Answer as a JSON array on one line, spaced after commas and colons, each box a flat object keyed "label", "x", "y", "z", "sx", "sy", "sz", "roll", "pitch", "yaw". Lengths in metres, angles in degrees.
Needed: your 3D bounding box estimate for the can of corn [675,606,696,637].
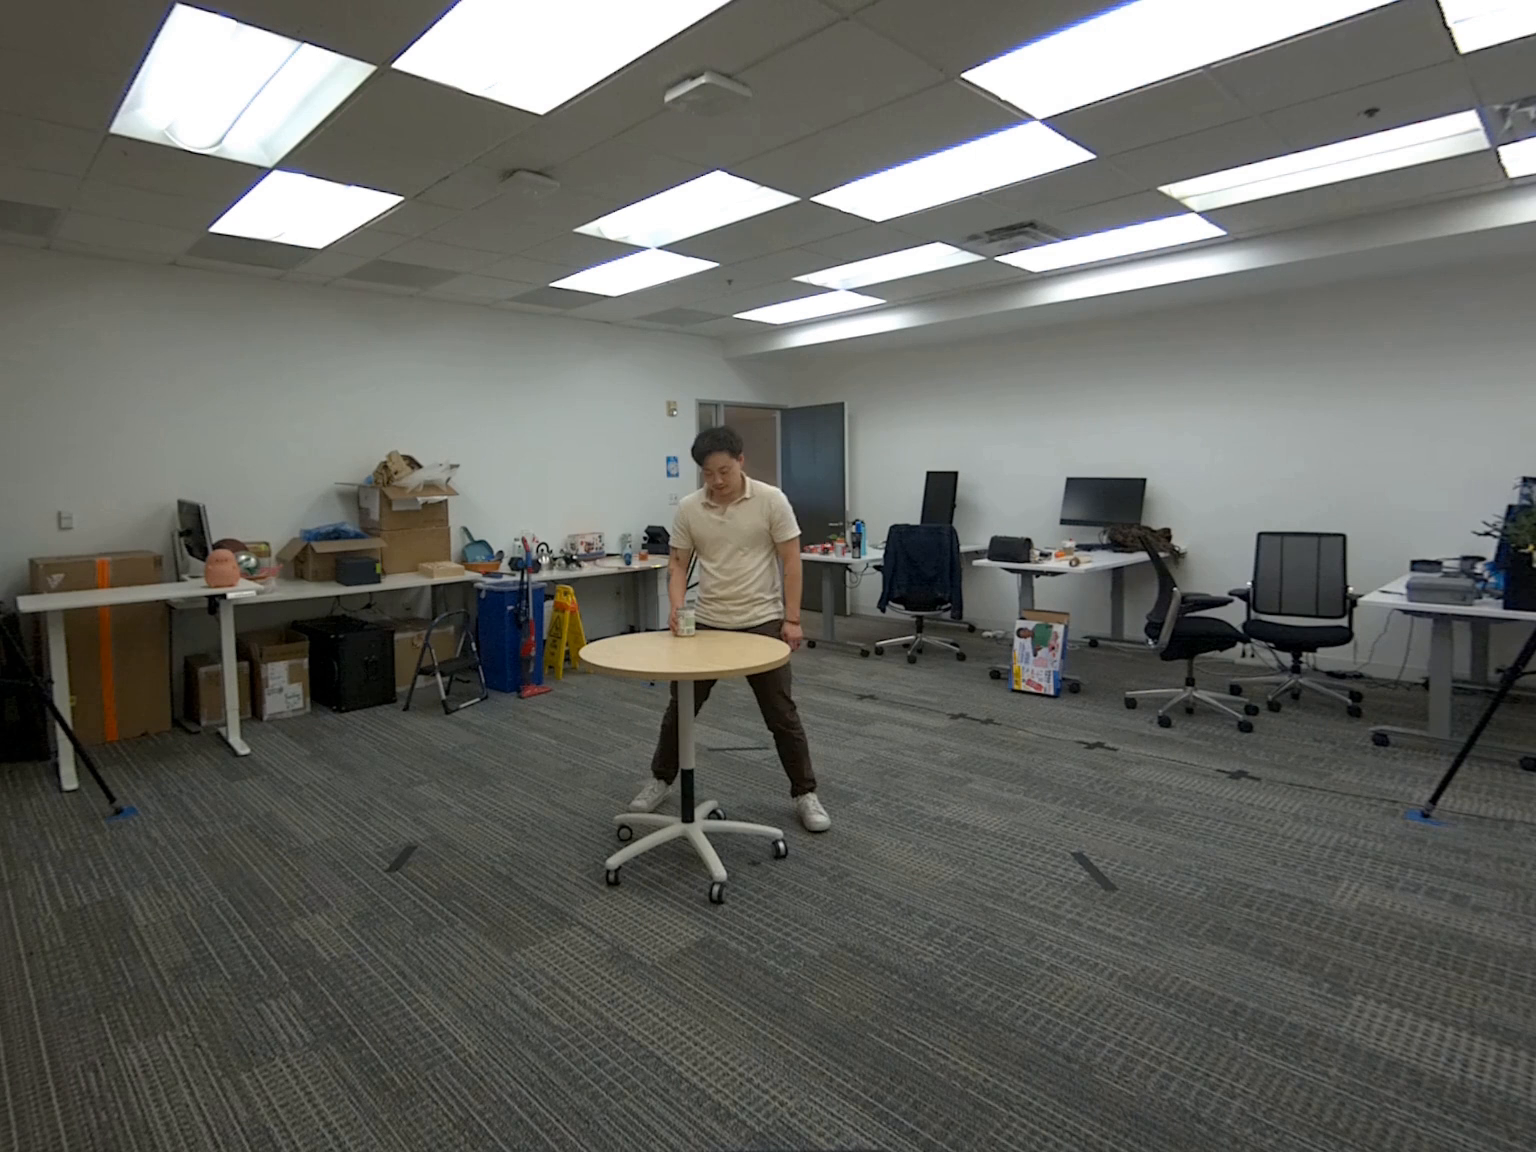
[{"label": "can of corn", "x": -0.327, "y": 0.182, "z": 3.358, "sx": 0.074, "sy": 0.111, "sz": 0.074, "roll": 0, "pitch": 1, "yaw": -2}]
